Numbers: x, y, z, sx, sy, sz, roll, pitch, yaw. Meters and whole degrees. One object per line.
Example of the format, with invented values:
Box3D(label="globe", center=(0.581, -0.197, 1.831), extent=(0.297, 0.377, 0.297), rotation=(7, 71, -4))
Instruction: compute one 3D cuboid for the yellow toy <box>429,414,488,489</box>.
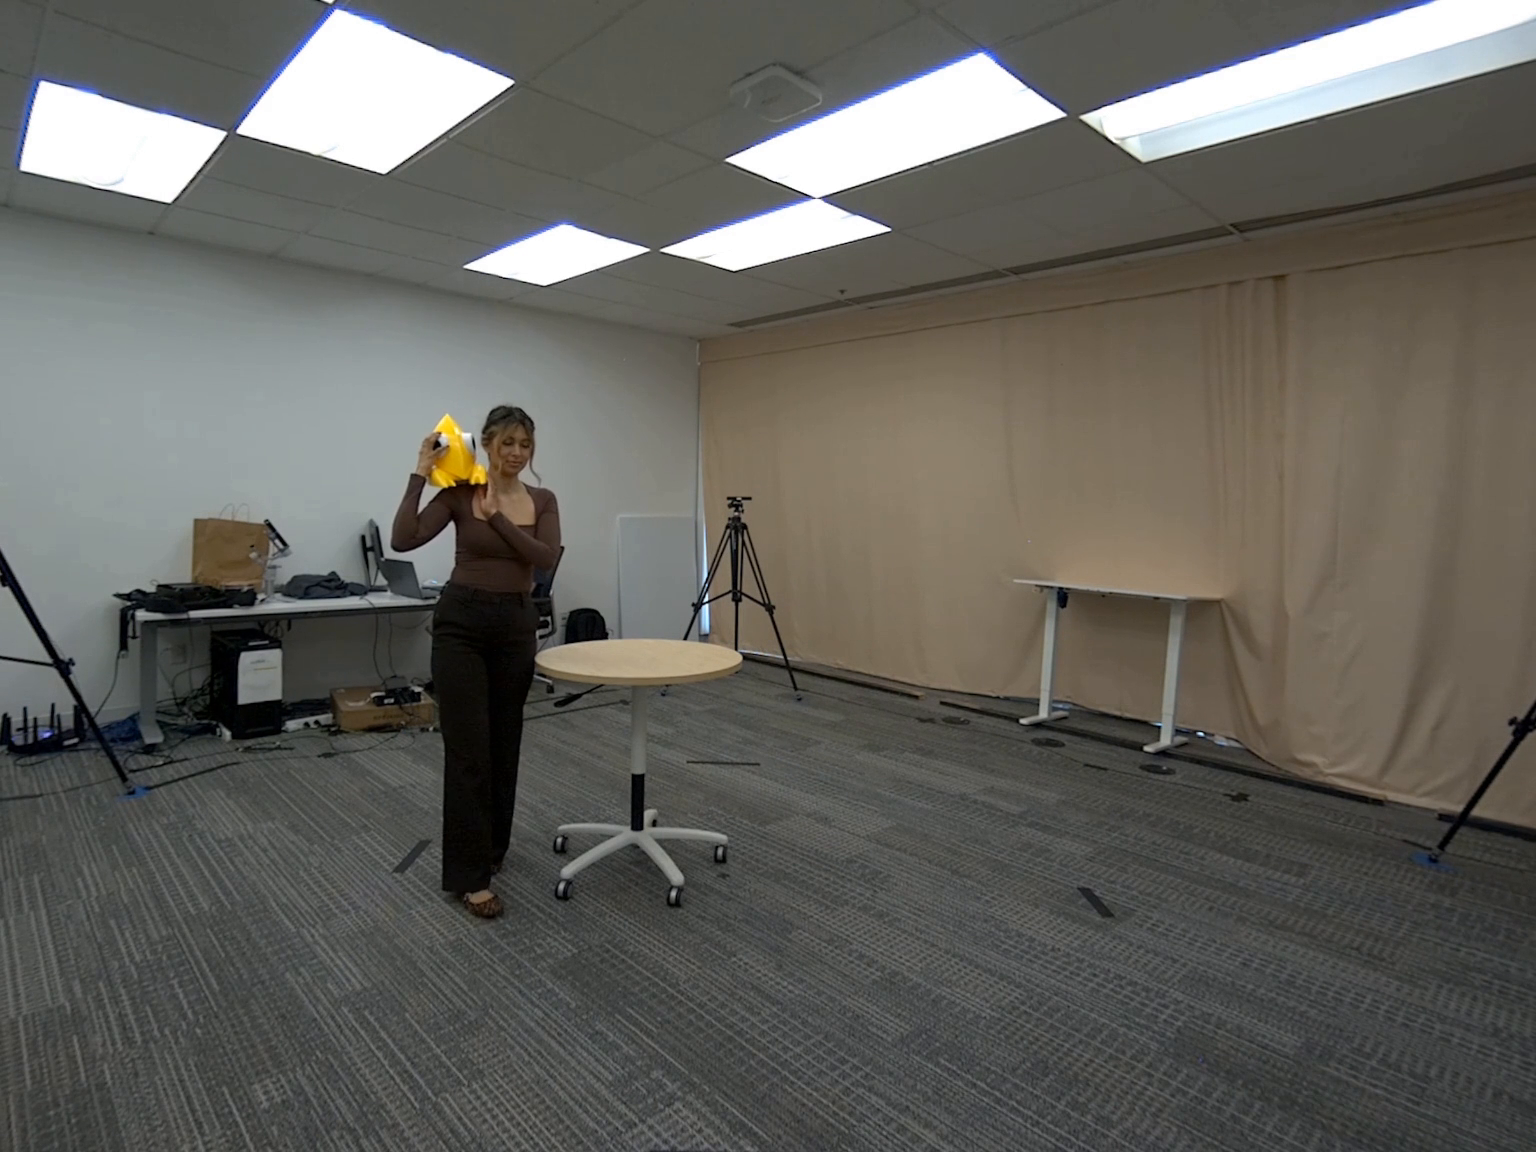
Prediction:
Box3D(label="yellow toy", center=(-1.098, -0.440, 2.916), extent=(0.201, 0.228, 0.199), rotation=(-10, 20, -37))
